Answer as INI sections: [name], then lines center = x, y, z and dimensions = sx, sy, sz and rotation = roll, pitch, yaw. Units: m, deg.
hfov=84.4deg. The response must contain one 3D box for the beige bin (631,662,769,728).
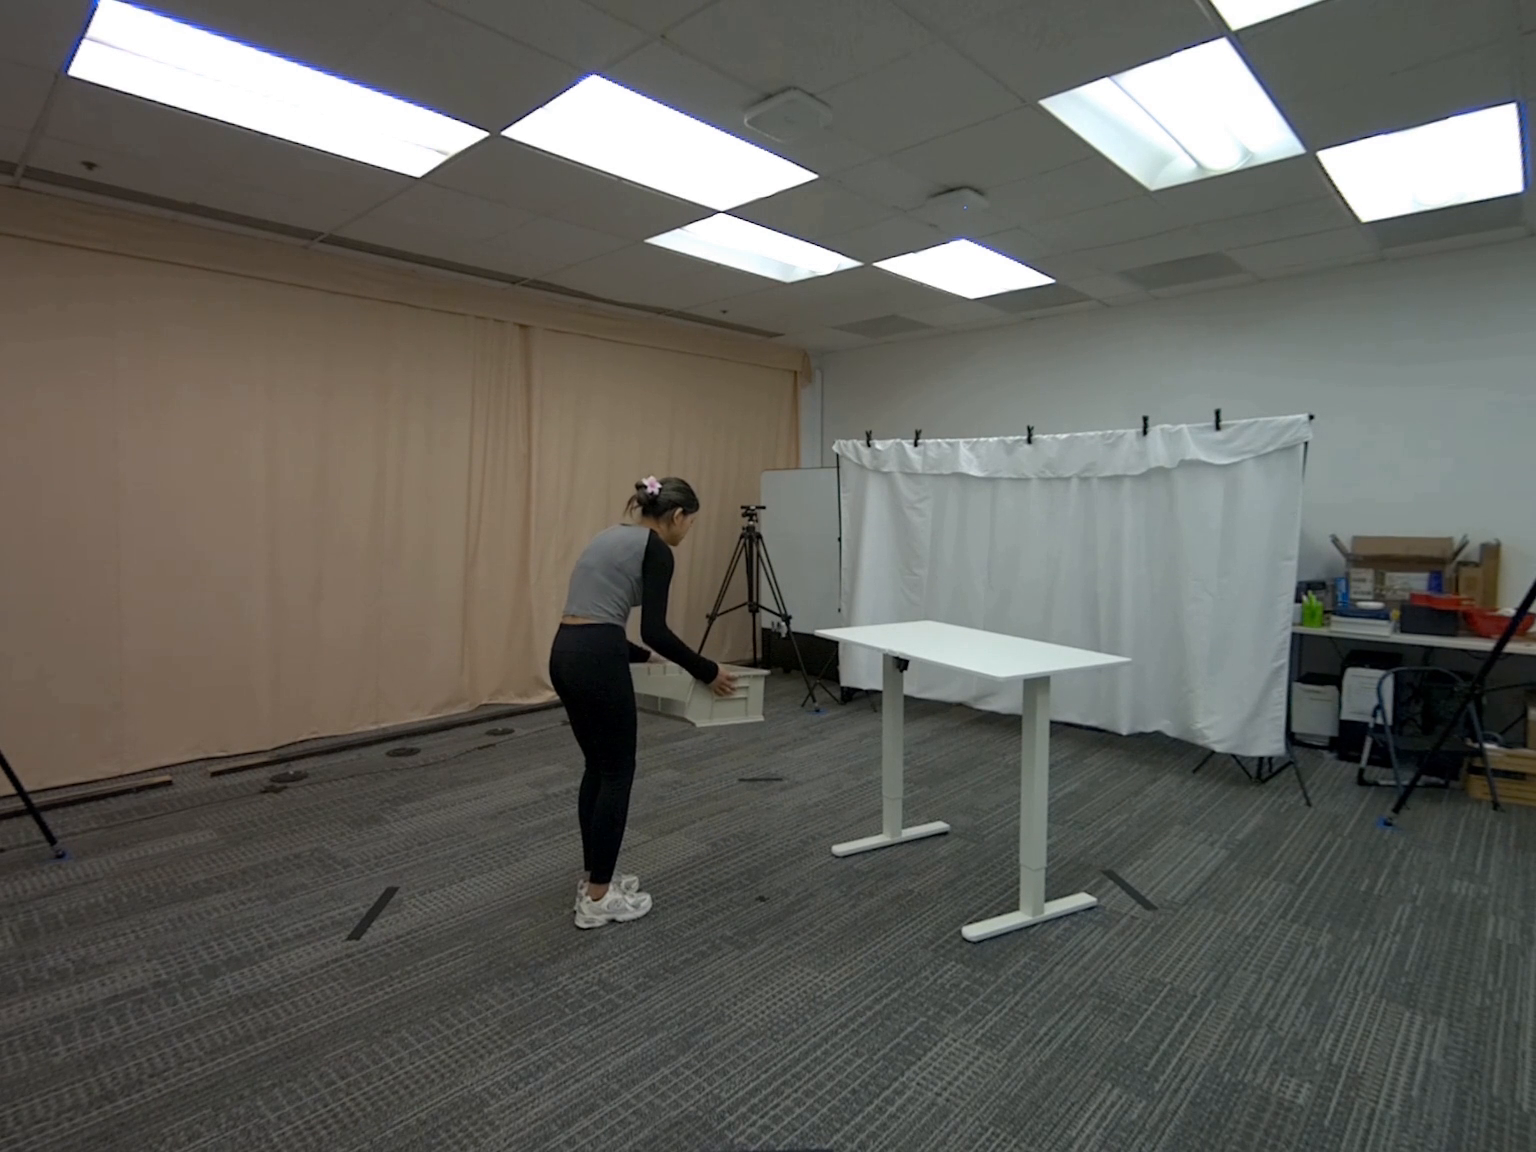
[beige bin]
center = -0.272, 0.431, 3.093
dimensions = 0.365, 0.189, 0.436
rotation = 5, -4, -42
